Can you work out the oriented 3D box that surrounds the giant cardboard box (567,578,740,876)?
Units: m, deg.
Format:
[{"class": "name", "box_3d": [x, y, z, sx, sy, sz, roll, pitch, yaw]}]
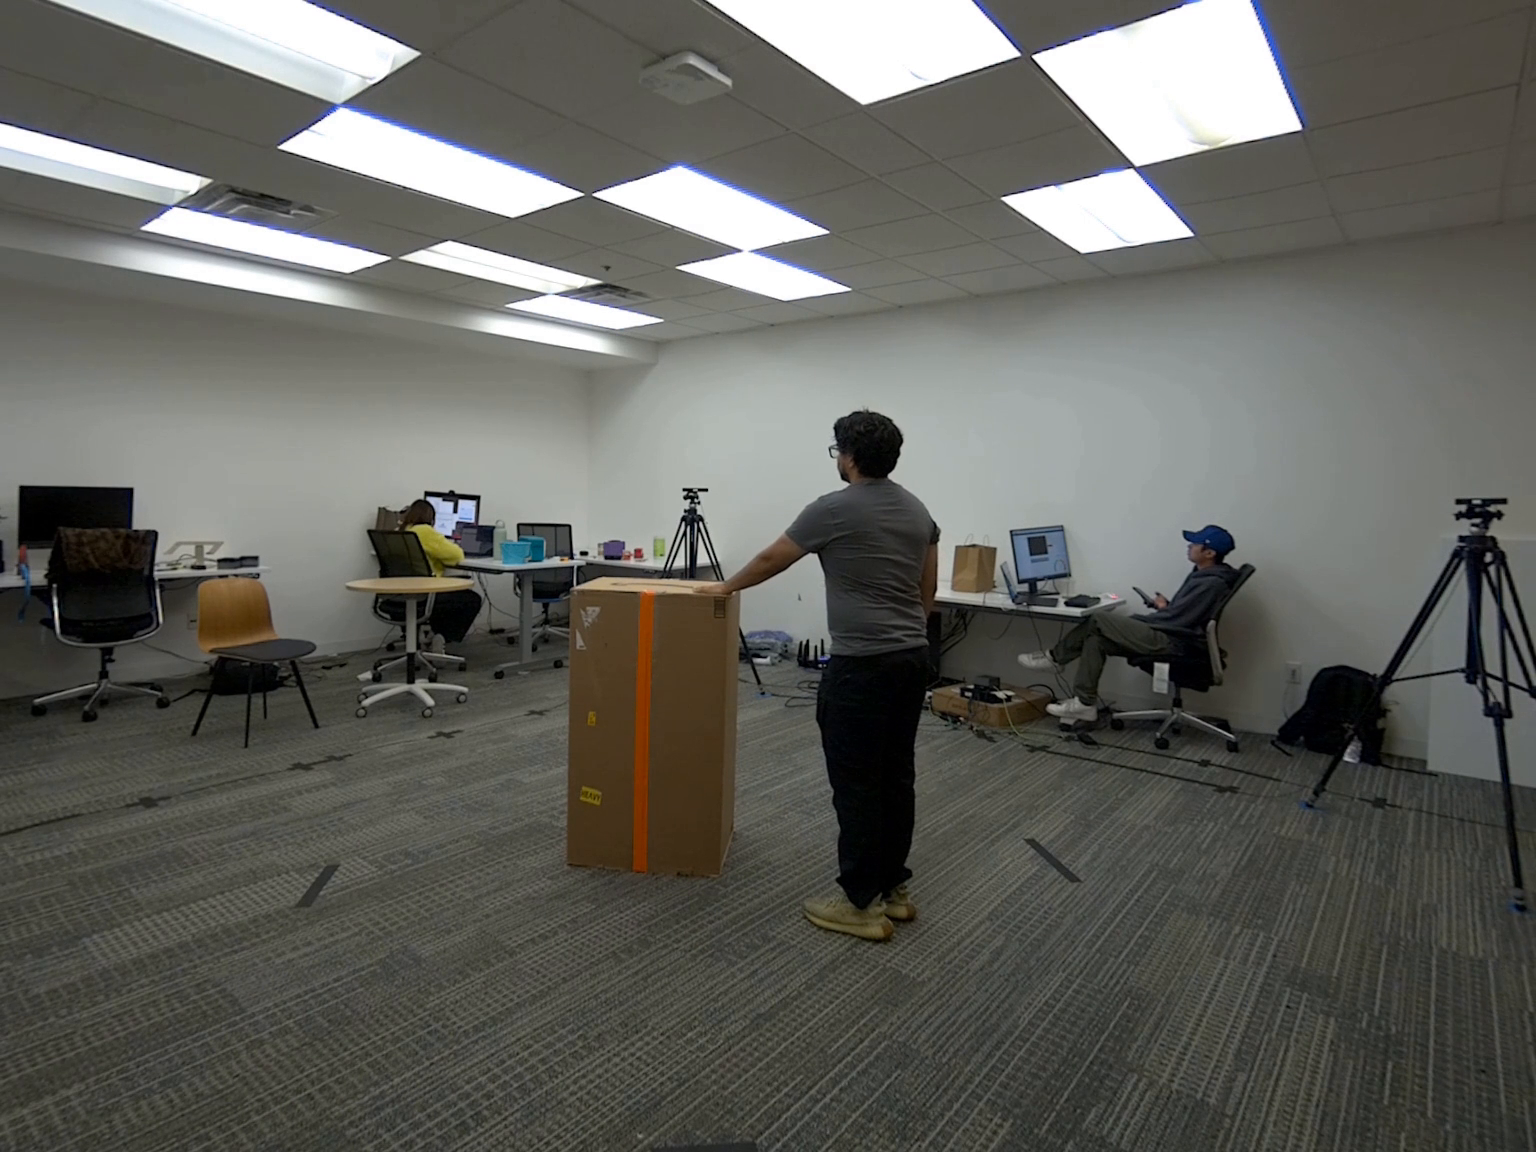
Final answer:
[{"class": "giant cardboard box", "box_3d": [-0.435, 0.541, 3.257, 0.583, 1.023, 0.424, 2, 3, 7]}]
